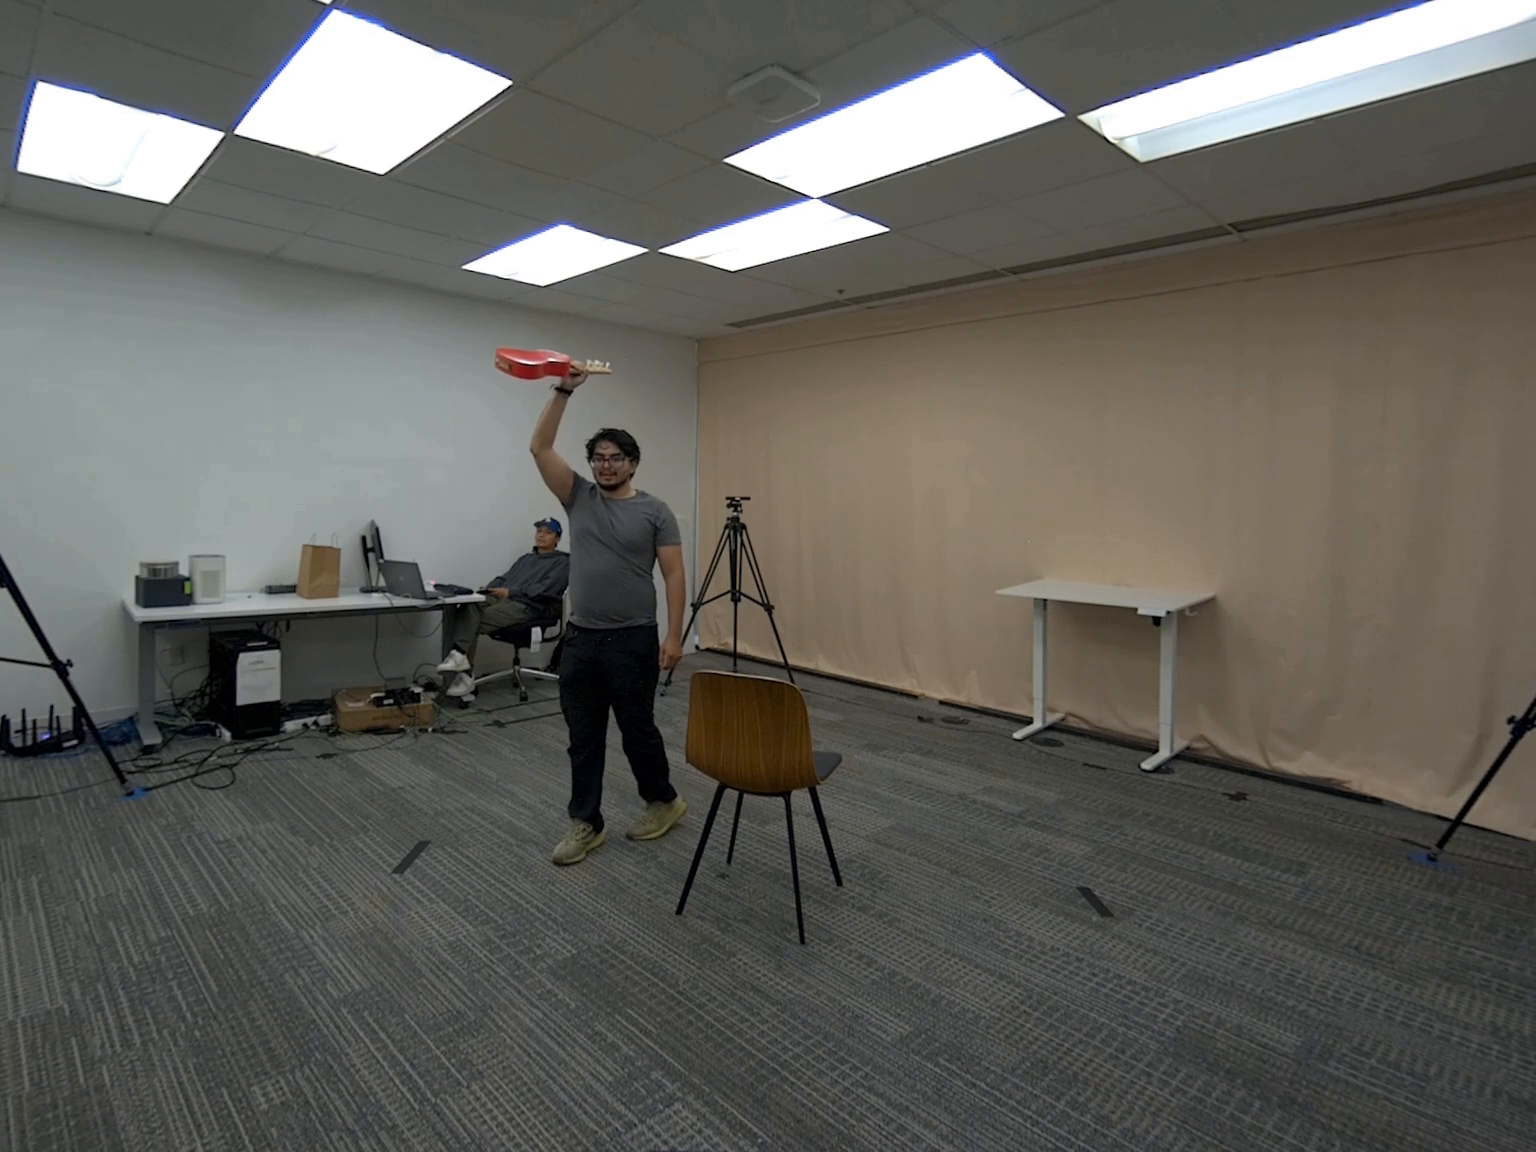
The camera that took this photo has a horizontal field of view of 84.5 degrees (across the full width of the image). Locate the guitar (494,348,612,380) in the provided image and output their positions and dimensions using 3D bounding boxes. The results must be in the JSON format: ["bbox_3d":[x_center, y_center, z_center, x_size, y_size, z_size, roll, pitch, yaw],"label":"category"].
[{"bbox_3d":[-0.816,-0.804,3.148,0.197,0.070,0.492,24,25,22],"label":"guitar"}]
